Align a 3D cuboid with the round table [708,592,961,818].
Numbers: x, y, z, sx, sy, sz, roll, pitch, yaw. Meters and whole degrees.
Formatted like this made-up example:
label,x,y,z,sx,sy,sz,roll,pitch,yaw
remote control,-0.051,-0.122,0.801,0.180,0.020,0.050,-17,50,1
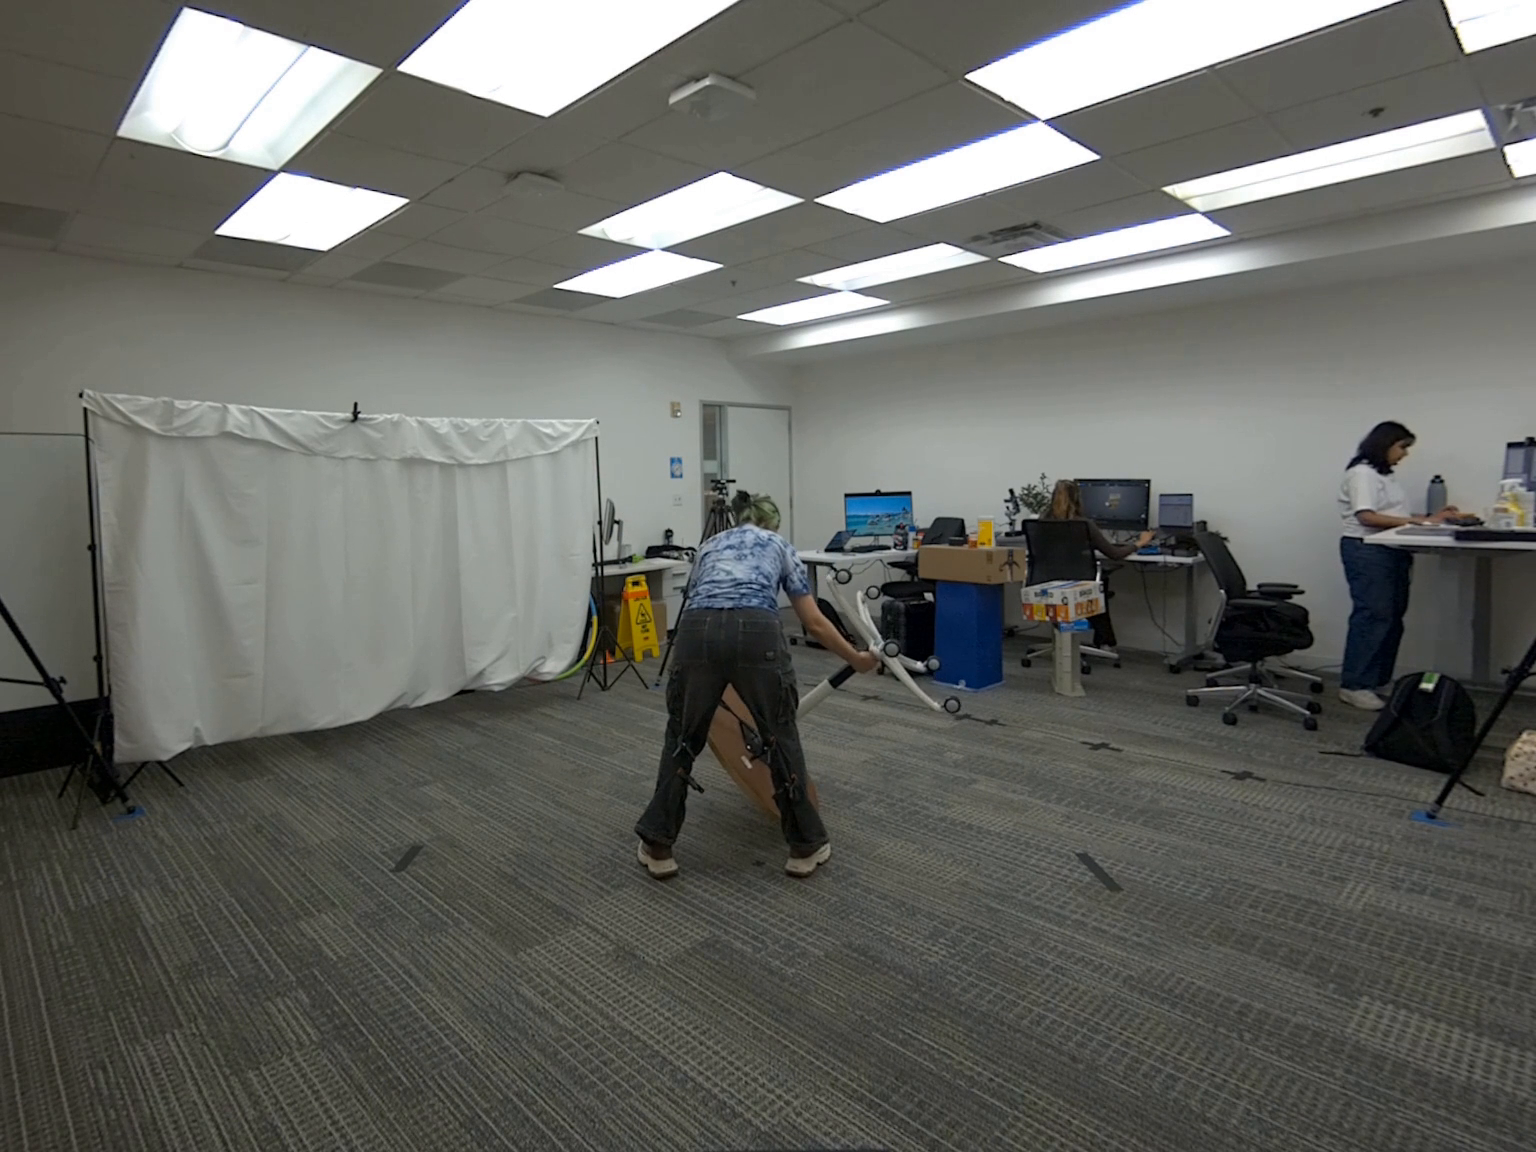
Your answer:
label,x,y,z,sx,sy,sz,roll,pitch,yaw
round table,0.226,0.461,3.435,0.795,0.769,0.758,-41,-4,11
